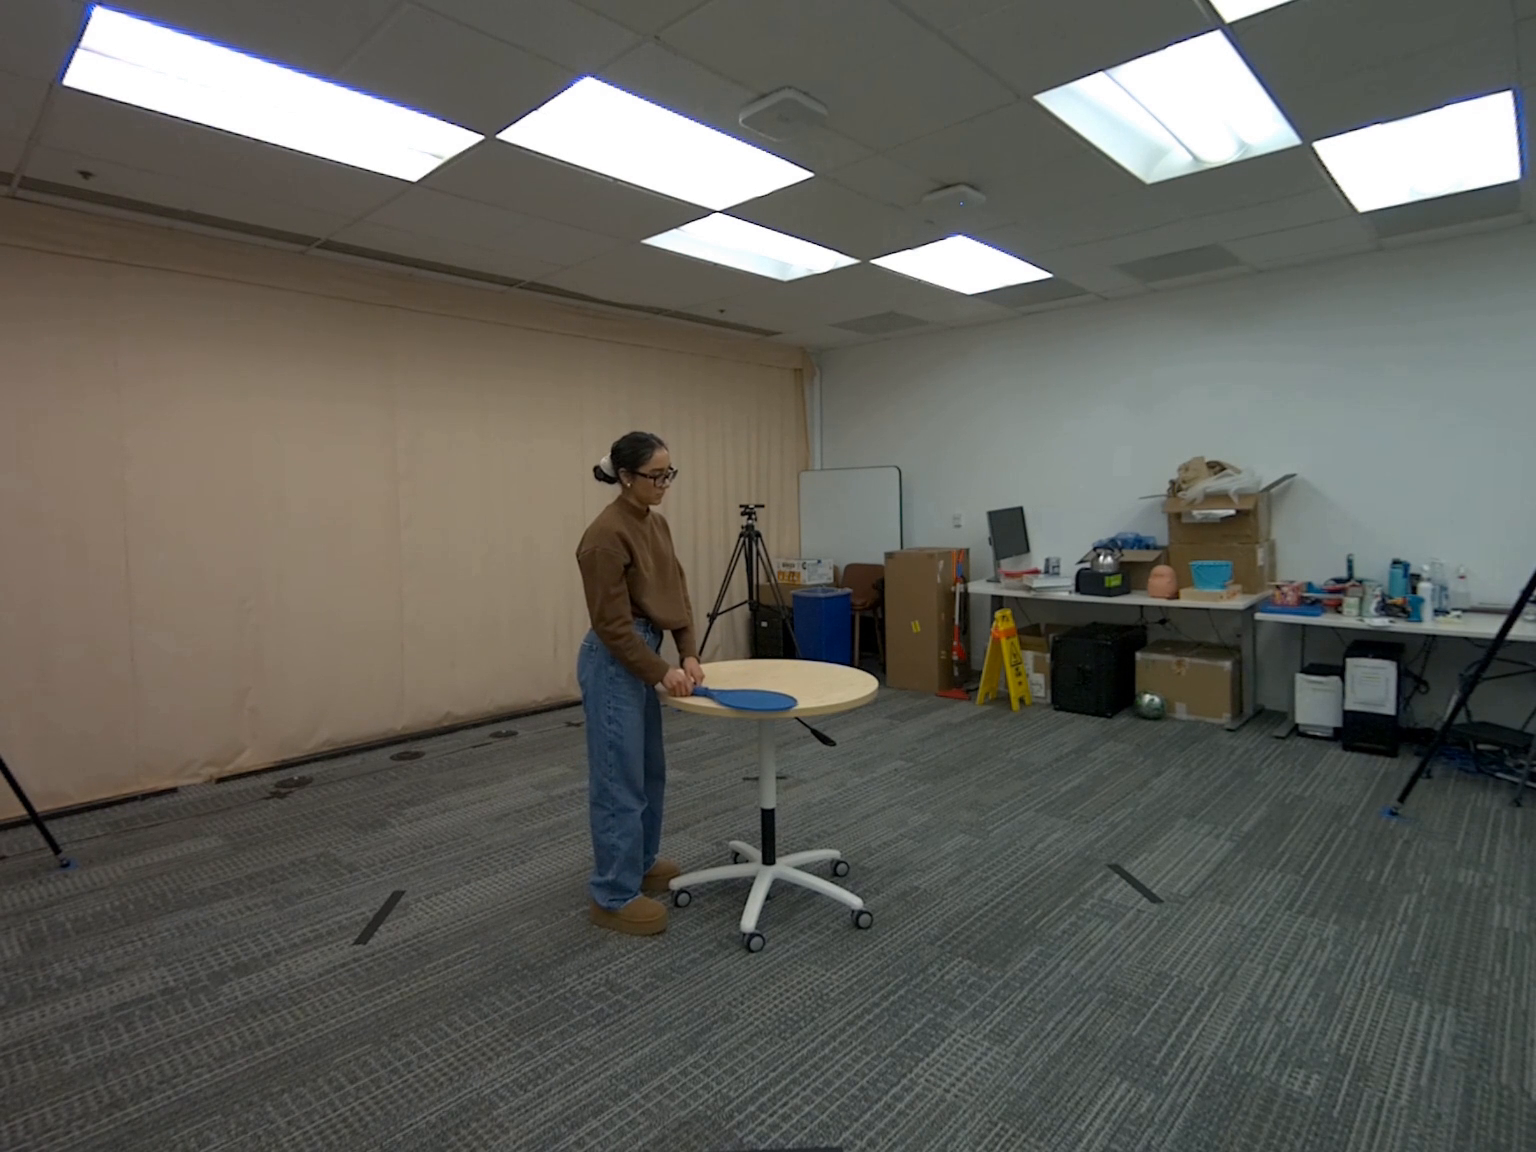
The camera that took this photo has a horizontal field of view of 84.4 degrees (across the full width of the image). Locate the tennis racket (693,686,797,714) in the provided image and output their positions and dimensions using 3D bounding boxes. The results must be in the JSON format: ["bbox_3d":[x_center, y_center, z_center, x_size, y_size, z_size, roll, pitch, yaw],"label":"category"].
[{"bbox_3d":[-0.101,0.380,2.646,0.446,0.031,0.208,4,6,31],"label":"tennis racket"}]
